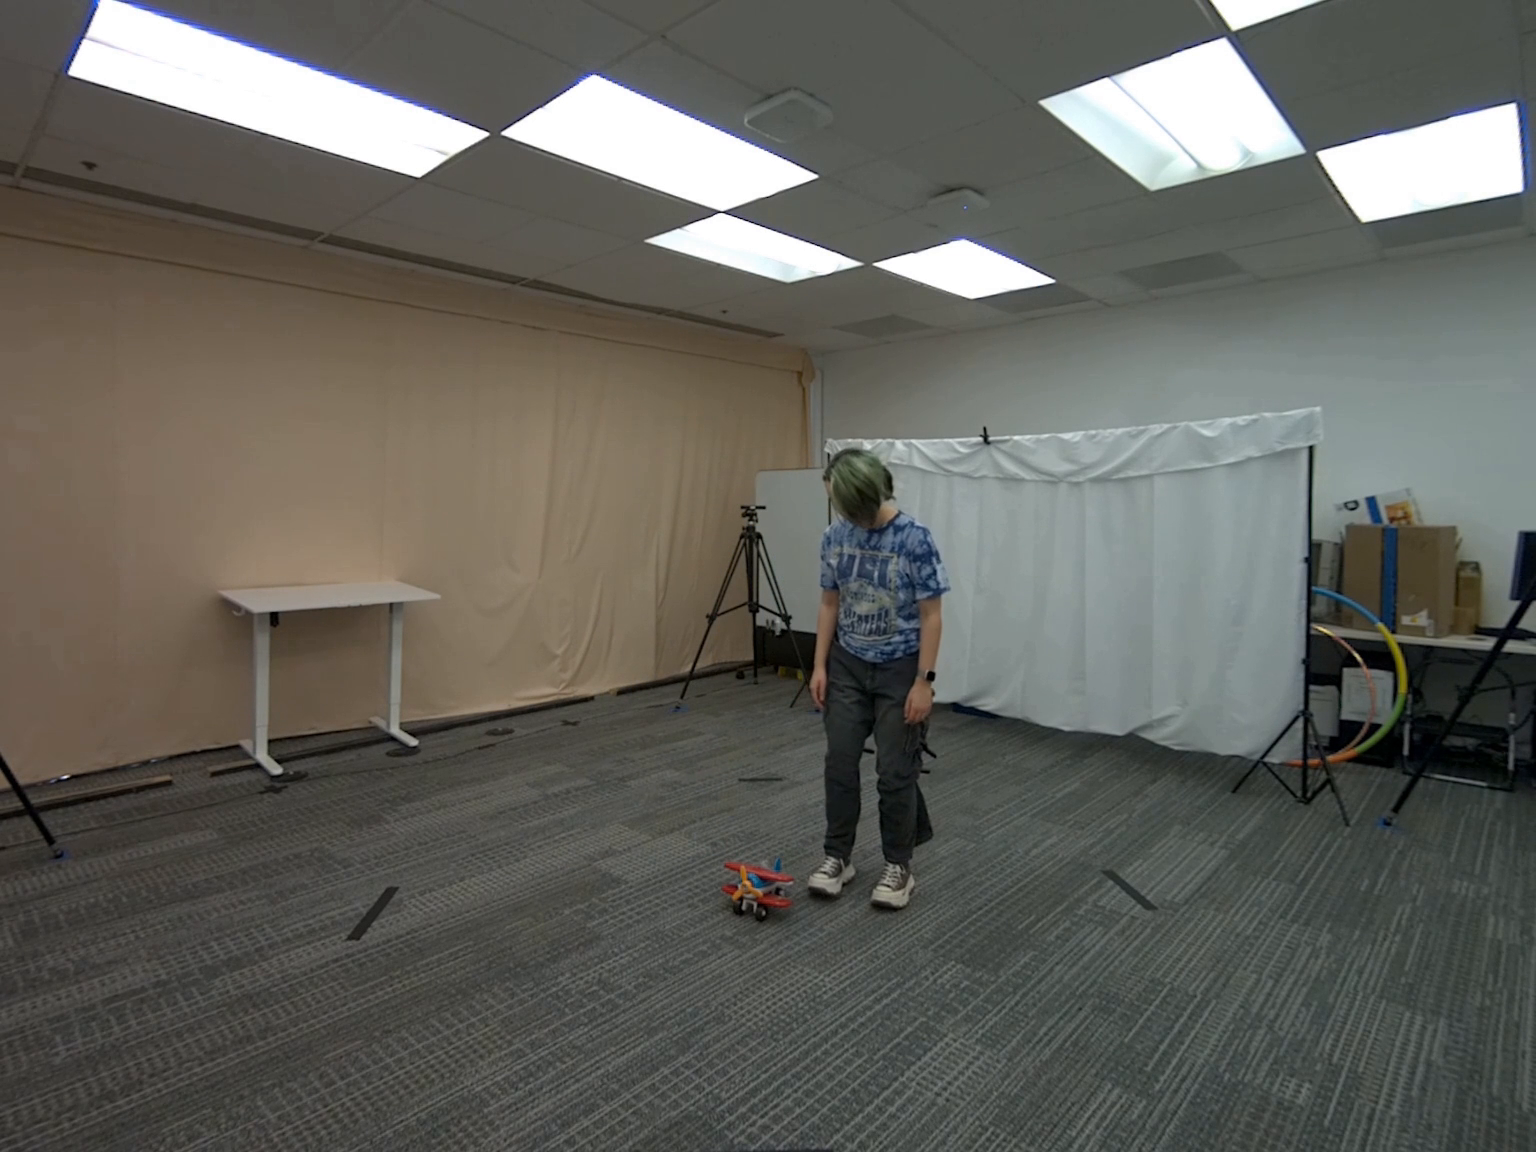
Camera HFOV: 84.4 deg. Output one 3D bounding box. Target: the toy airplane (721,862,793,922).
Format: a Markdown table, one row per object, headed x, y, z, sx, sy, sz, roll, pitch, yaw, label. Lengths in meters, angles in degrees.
| x | y | z | sx | sy | sz | roll | pitch | yaw | label |
| --- | --- | --- | --- | --- | --- | --- | --- | --- | --- |
| -0.034 | 1.073 | 2.927 | 0.252 | 0.156 | 0.259 | 0 | 6 | 2 | toy airplane |
